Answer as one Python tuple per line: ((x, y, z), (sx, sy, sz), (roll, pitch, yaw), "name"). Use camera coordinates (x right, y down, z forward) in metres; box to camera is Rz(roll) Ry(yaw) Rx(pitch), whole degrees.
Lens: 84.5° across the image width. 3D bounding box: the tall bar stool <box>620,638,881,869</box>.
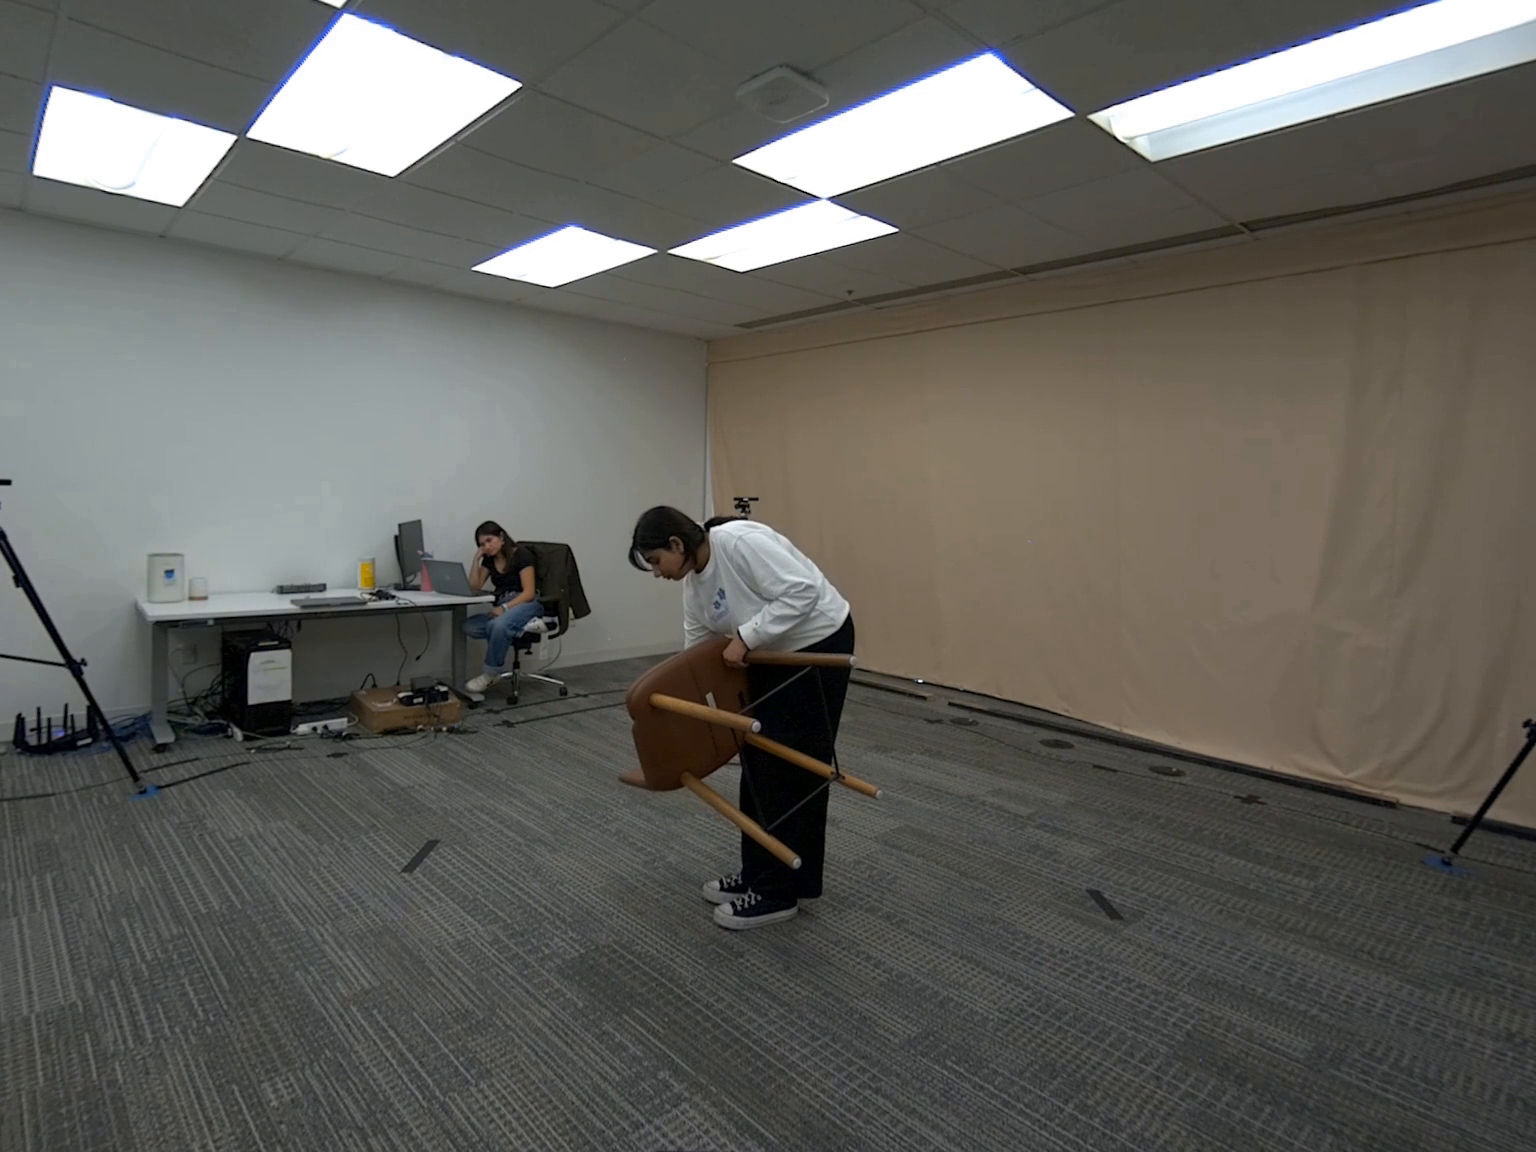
((-0.146, 0.481, 2.609), (0.452, 0.461, 0.912), (-28, 21, -36), "tall bar stool")
